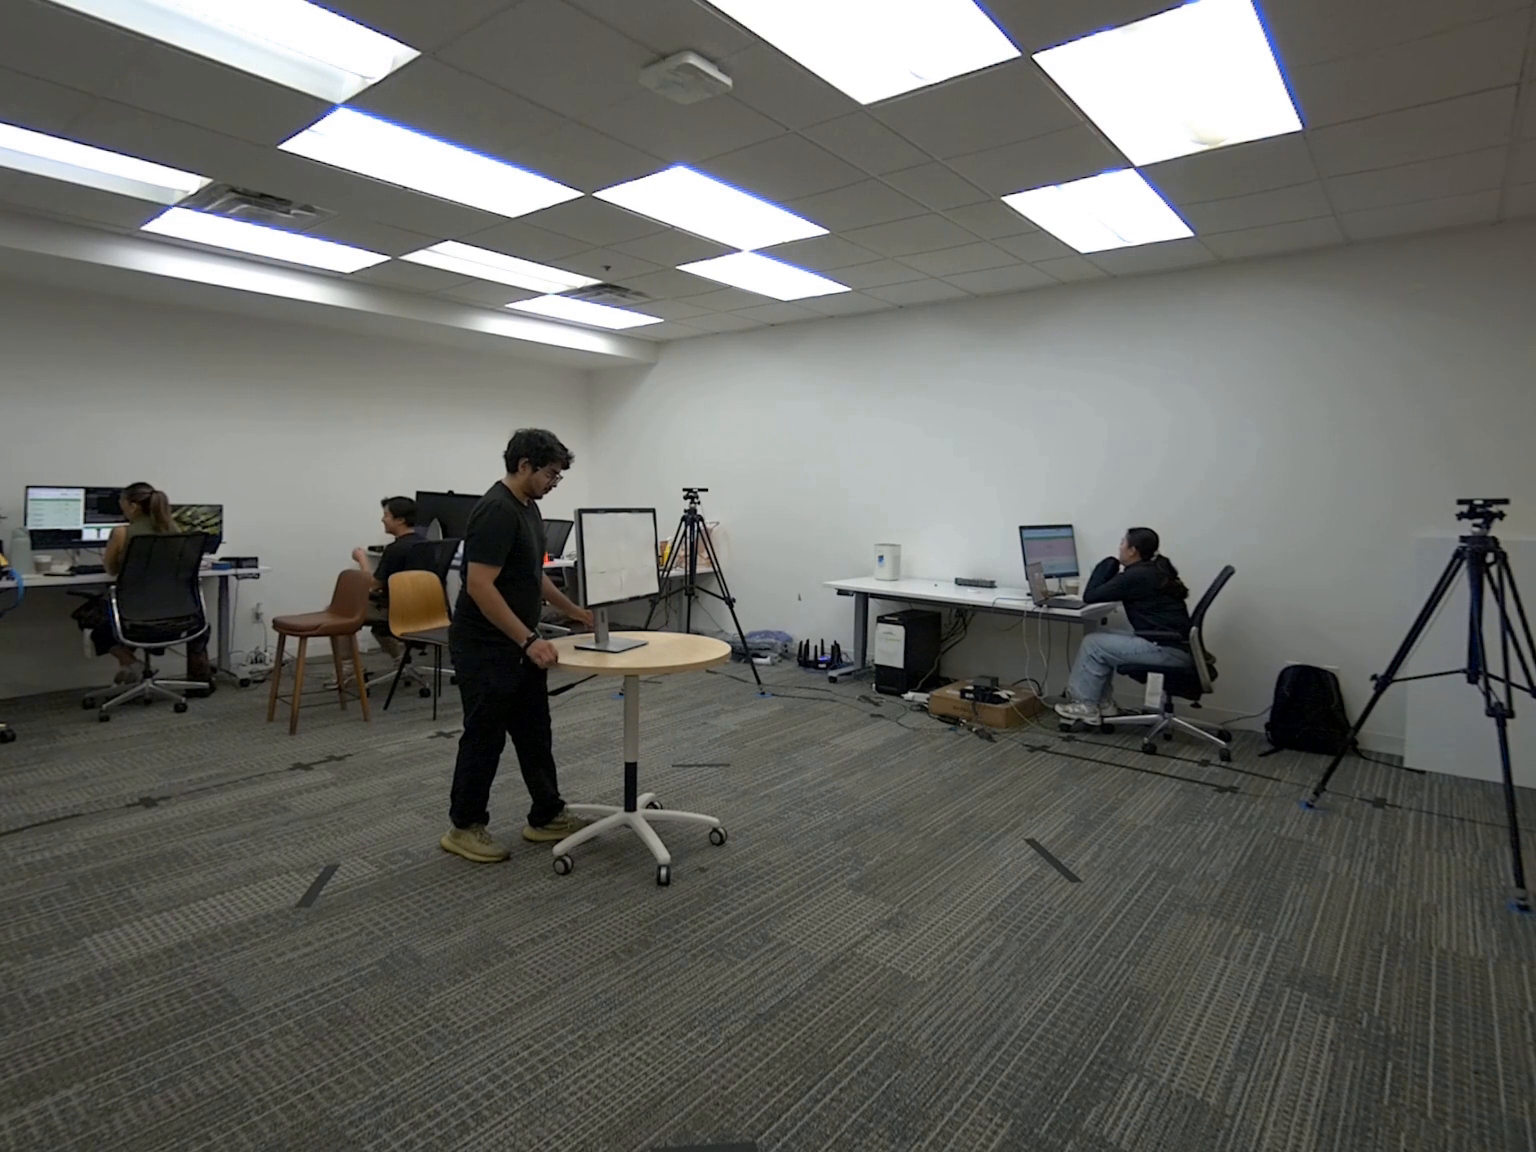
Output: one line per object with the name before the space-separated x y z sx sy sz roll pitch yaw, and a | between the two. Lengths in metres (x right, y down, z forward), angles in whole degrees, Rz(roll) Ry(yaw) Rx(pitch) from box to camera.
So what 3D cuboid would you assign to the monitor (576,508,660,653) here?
monitor | -0.639 0.008 3.299 0.215 0.553 0.553 0 3 23
